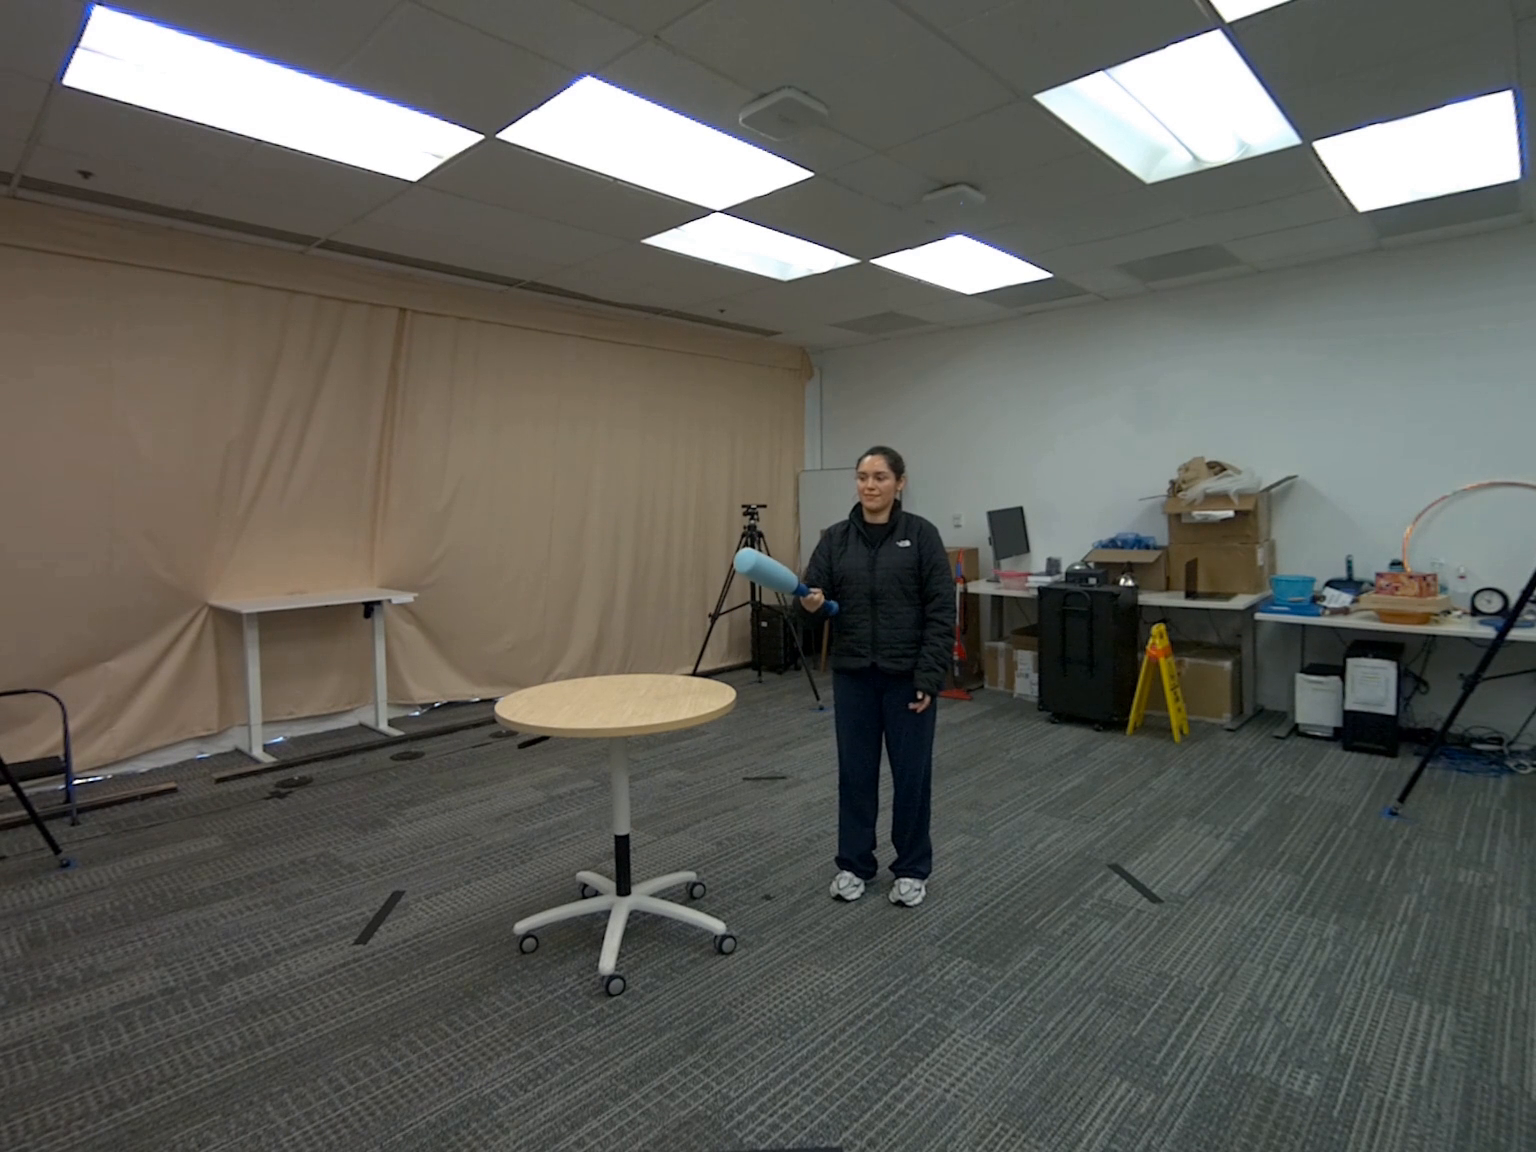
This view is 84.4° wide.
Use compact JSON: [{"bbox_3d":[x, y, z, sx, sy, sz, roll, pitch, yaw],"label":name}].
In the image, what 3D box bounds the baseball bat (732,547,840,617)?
[{"bbox_3d":[0.099,0.031,2.667,0.092,0.089,0.523,2,-19,38],"label":"baseball bat"}]
